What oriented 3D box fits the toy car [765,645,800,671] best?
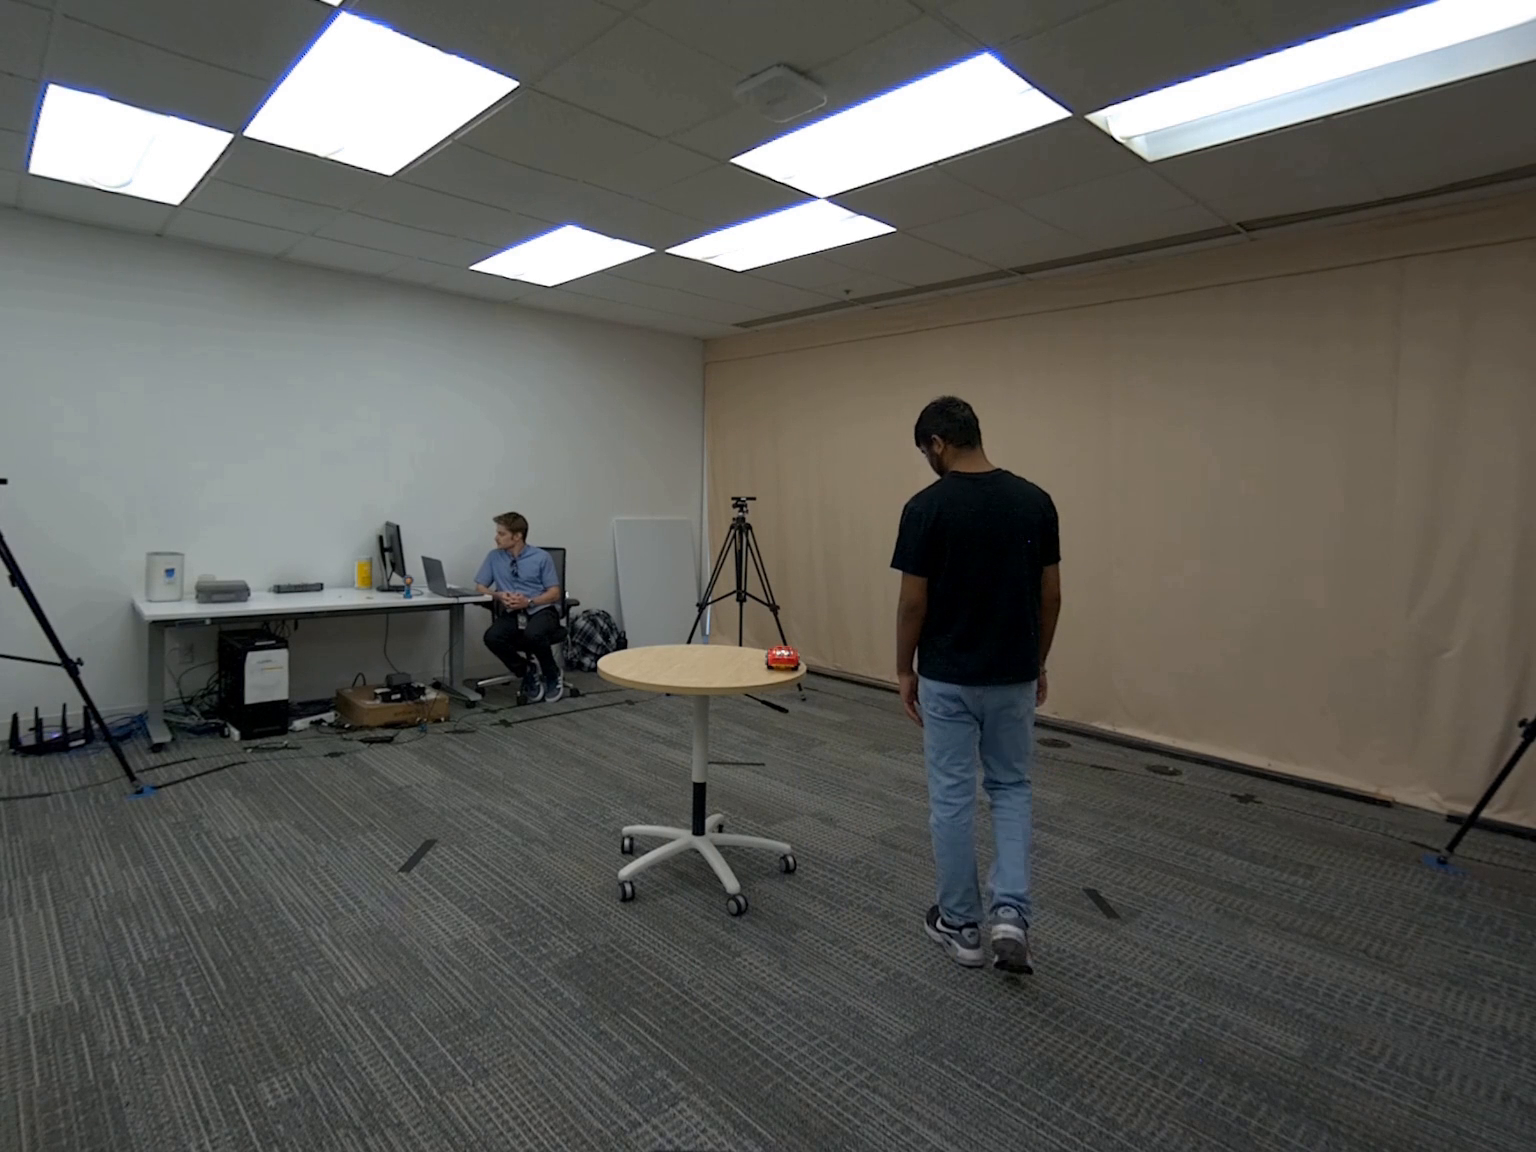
[{"bbox_3d":[0.048,0.301,3.073,0.130,0.083,0.253,2,-6,1],"label":"toy car"}]
